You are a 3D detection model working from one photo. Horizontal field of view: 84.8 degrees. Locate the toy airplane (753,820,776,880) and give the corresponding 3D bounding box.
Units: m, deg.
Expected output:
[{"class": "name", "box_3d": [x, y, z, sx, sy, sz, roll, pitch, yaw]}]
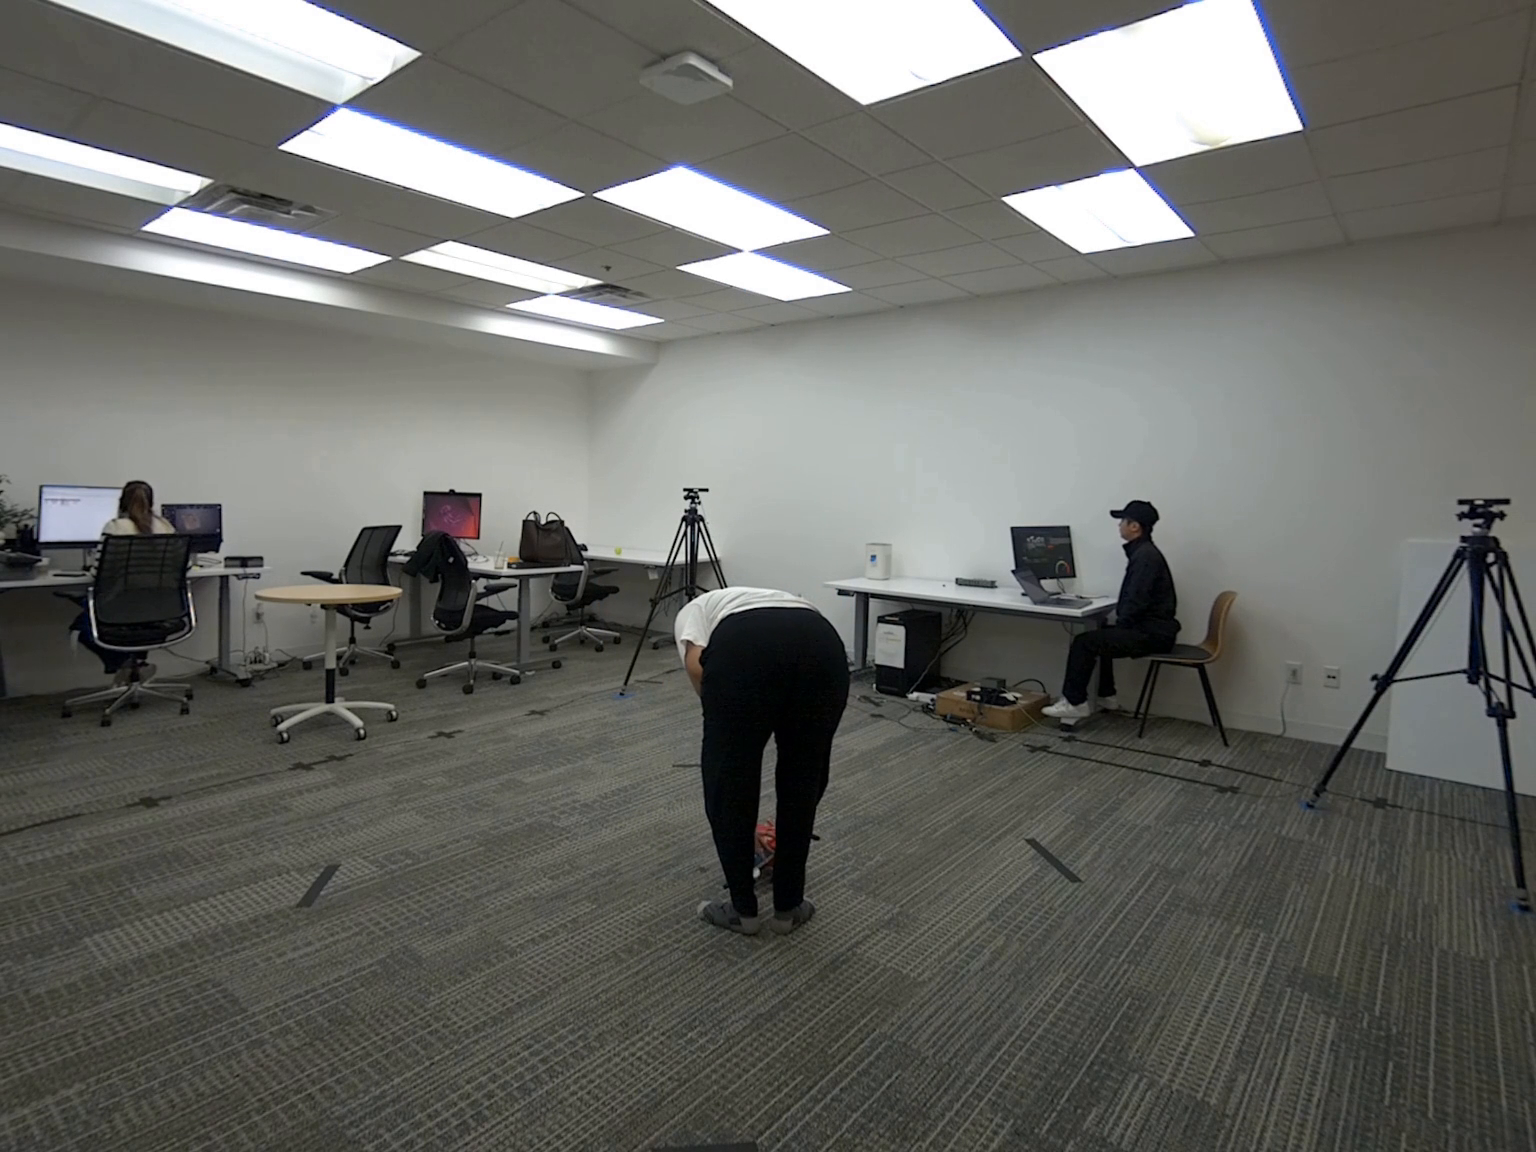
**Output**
[{"class": "toy airplane", "box_3d": [-0.007, 1.001, 3.048, 0.253, 0.156, 0.258, 4, 5, 5]}]
